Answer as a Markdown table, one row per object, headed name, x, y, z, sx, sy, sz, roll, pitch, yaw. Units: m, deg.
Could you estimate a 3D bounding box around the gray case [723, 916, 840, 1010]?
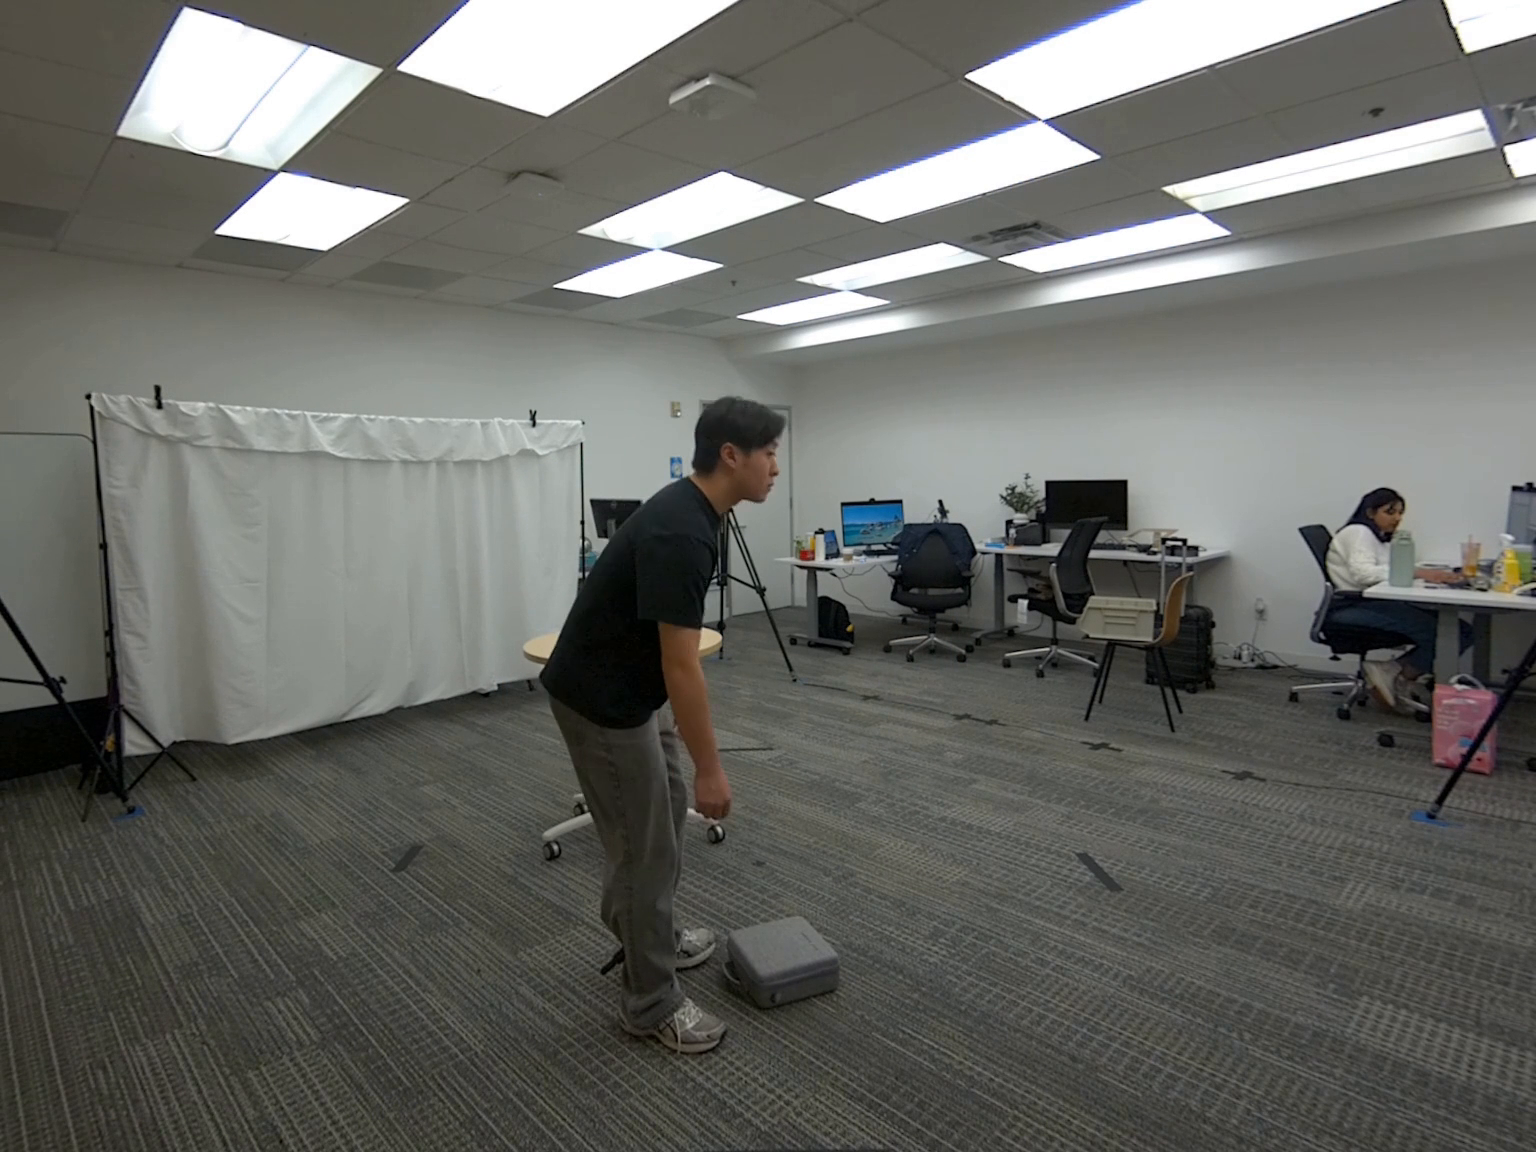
| name | x | y | z | sx | sy | sz | roll | pitch | yaw |
| --- | --- | --- | --- | --- | --- | --- | --- | --- | --- |
| gray case | 0.034 | 1.074 | 2.391 | 0.282 | 0.102 | 0.269 | -5 | 6 | -22 |
